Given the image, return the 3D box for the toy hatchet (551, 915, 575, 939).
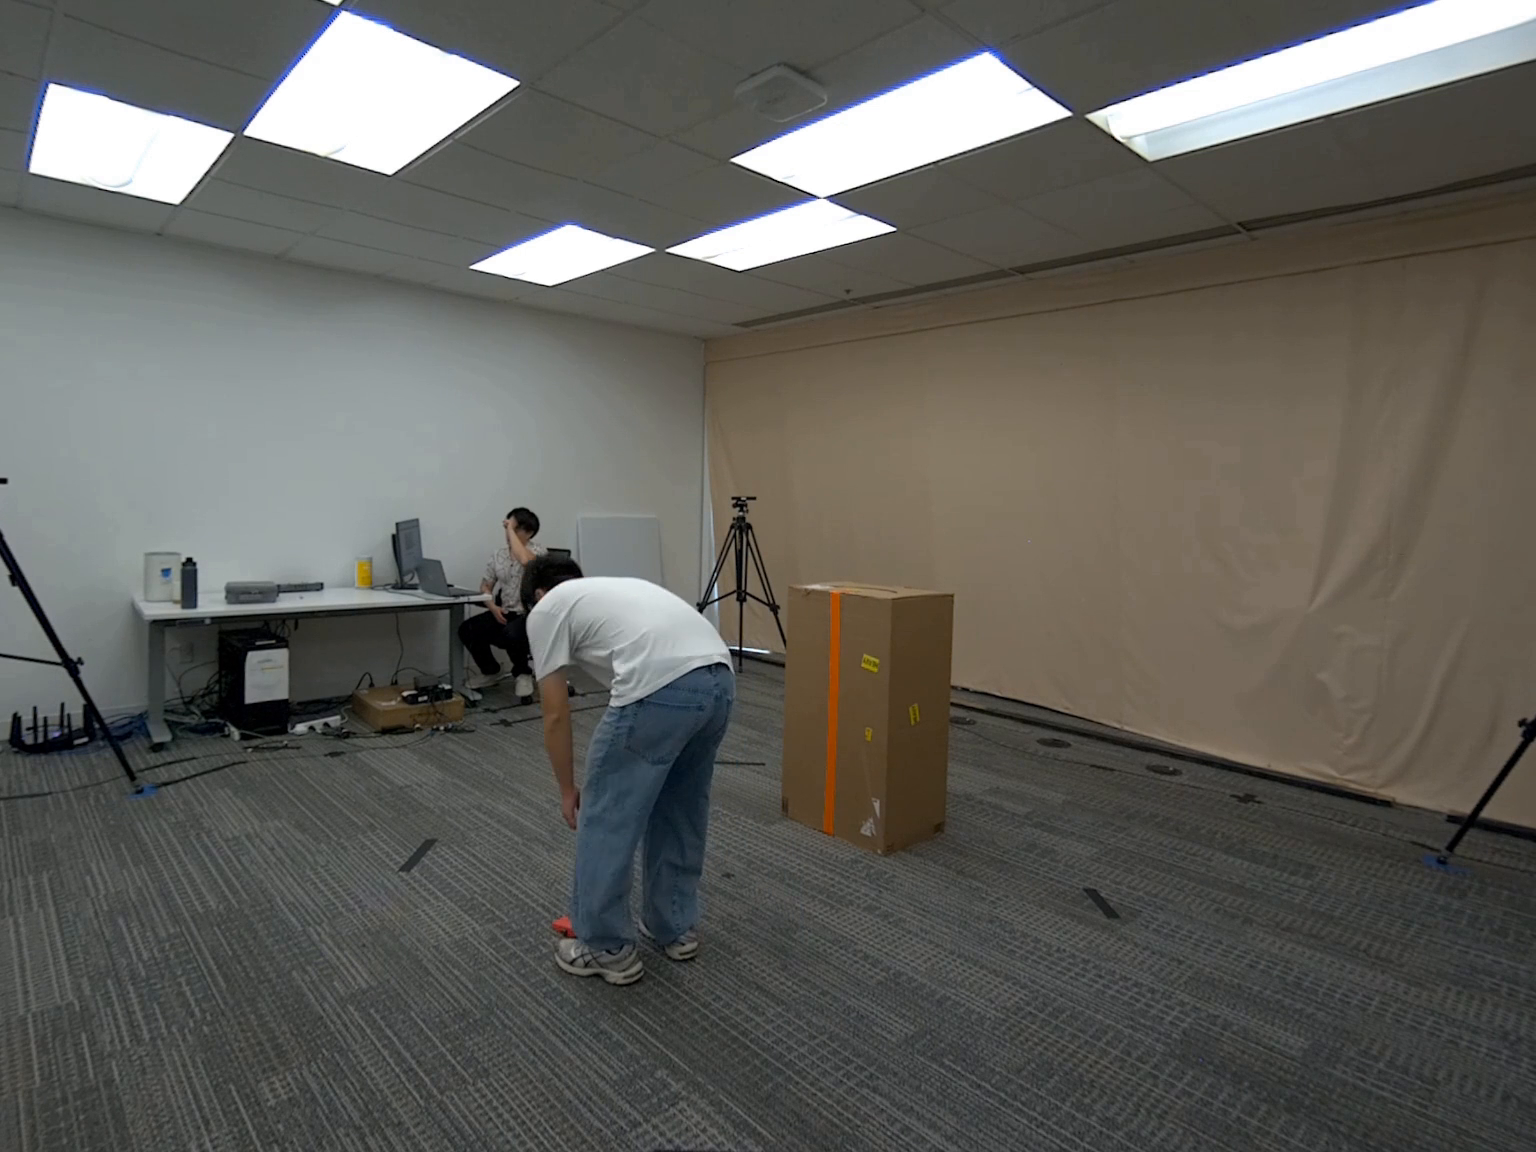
[{"bbox_3d":[-0.624,1.118,2.776,0.132,0.029,0.268,3,4,8],"label":"toy hatchet"}]
